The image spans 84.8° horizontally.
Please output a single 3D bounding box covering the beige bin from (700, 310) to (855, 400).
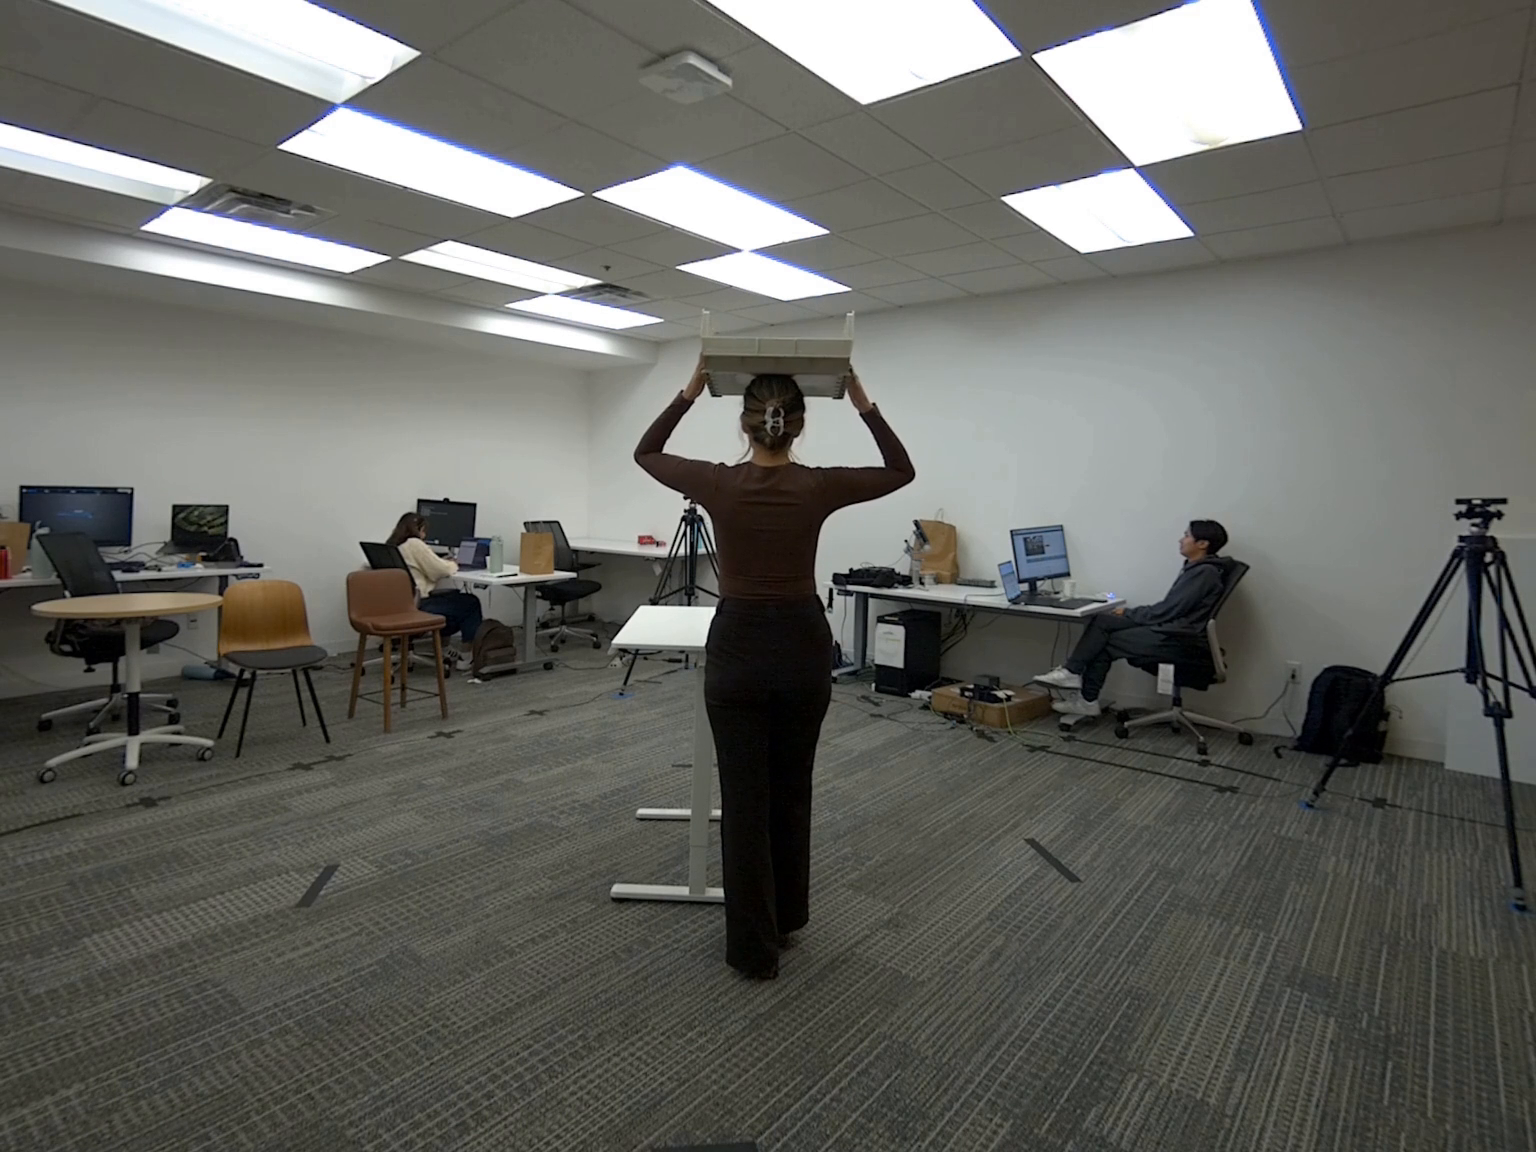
[{"bbox_3d":[0.027,-0.659,2.491,0.424,0.190,0.374,1,-5,2],"label":"beige bin"}]
